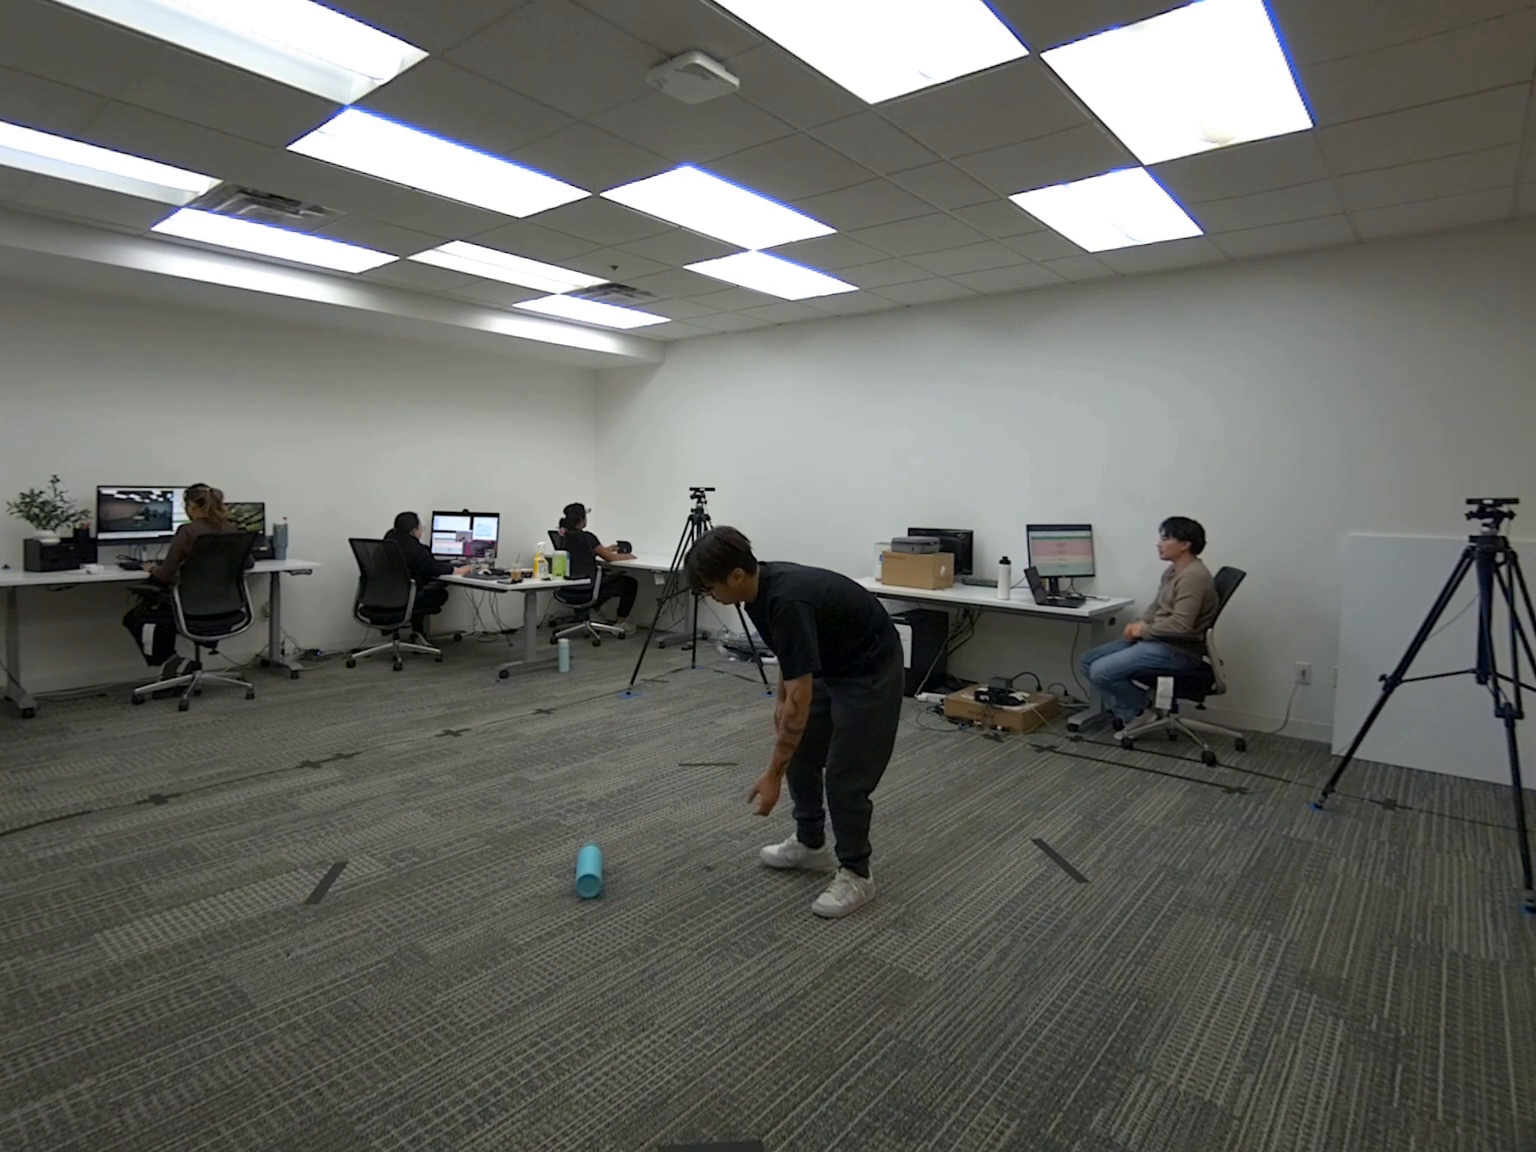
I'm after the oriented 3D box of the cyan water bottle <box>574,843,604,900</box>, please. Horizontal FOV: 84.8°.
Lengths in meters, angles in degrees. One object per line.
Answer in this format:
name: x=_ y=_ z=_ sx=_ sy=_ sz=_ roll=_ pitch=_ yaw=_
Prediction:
cyan water bottle: x=-0.638 y=1.020 z=2.996 sx=0.091 sy=0.092 sz=0.287 roll=0 pitch=5 yaw=-10
